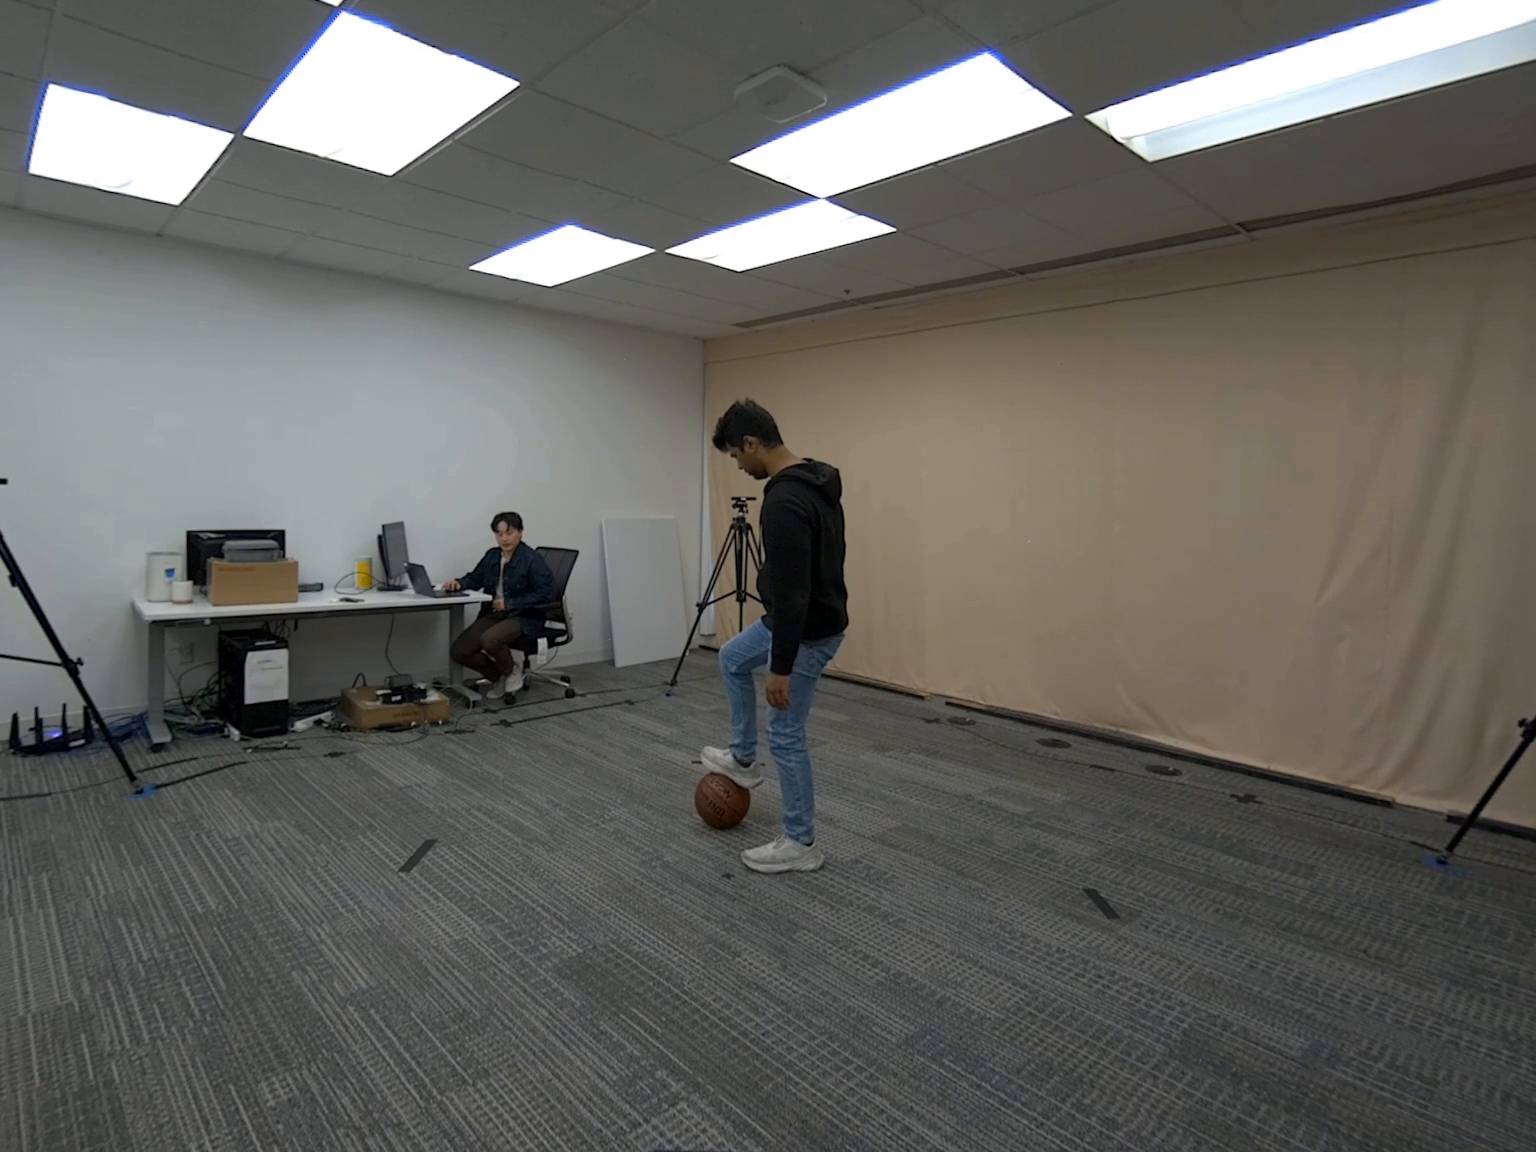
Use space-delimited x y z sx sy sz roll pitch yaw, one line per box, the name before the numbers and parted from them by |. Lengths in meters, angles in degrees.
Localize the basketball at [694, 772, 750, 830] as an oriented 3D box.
basketball | -0.198 0.949 3.580 0.236 0.235 0.237 1 4 -1
